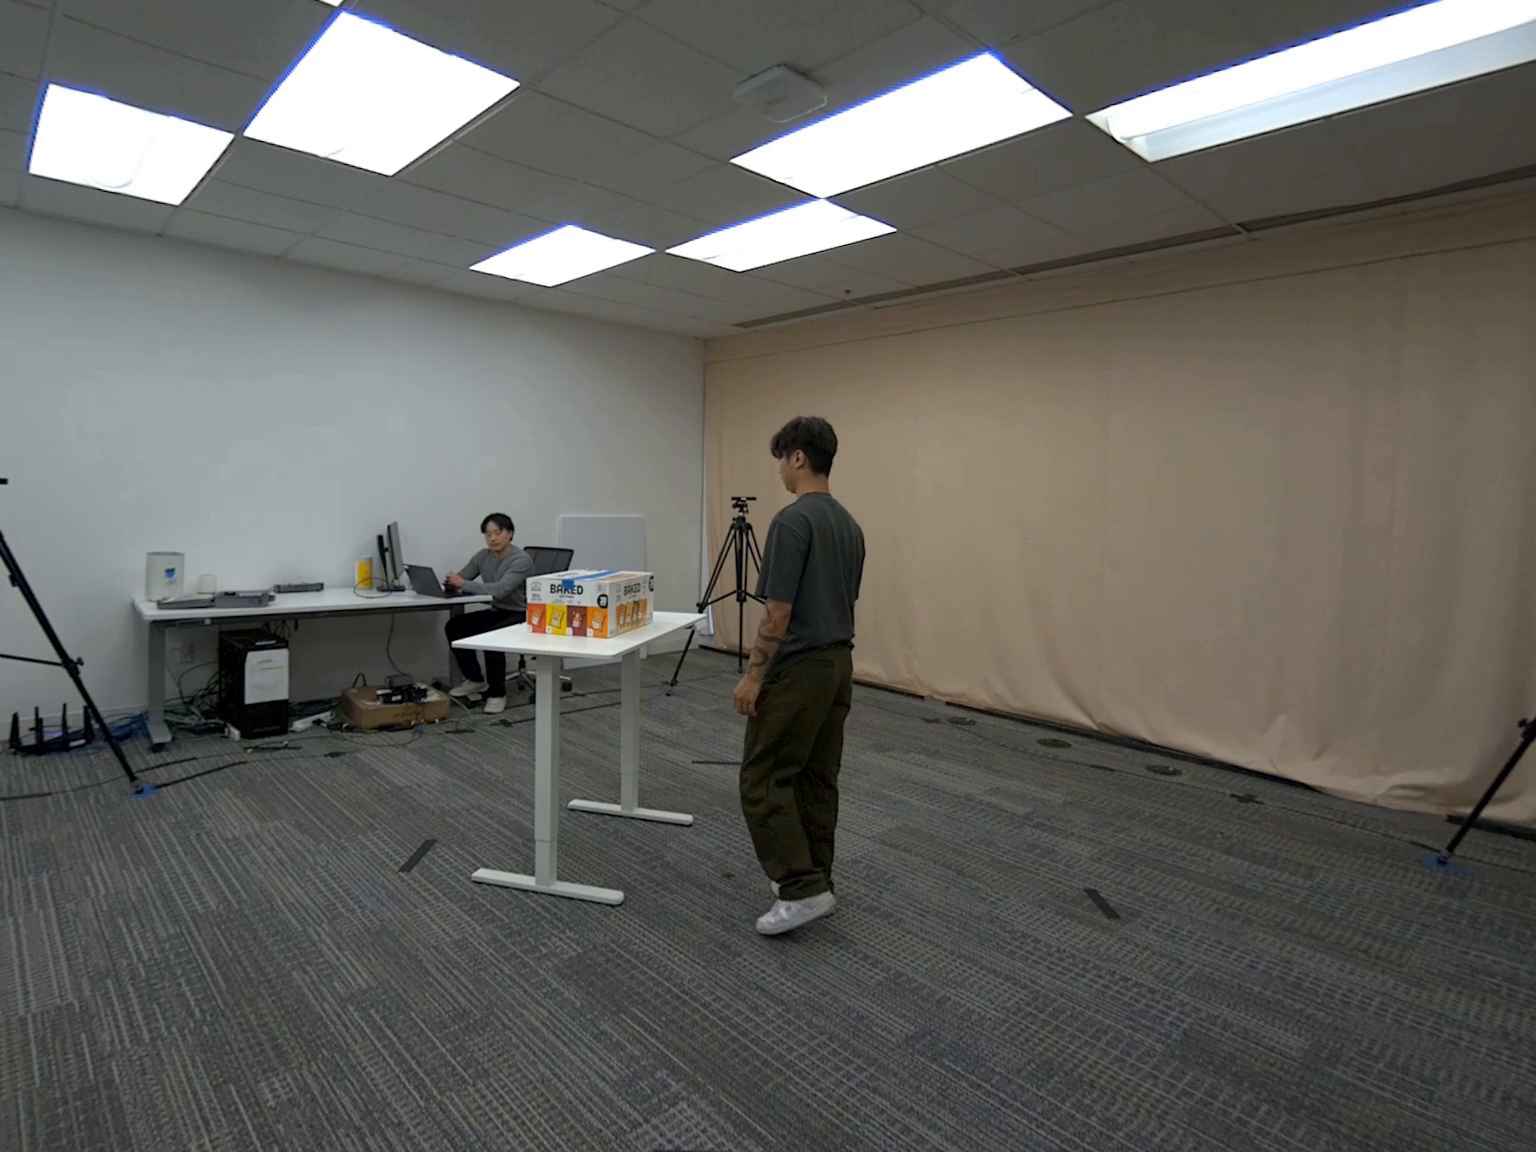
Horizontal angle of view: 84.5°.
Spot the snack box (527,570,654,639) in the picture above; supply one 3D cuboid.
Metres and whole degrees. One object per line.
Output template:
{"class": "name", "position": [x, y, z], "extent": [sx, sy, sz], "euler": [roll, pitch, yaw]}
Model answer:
{"class": "snack box", "position": [-0.685, 0.098, 3.250], "extent": [0.345, 0.205, 0.400], "euler": [3, 6, 17]}
